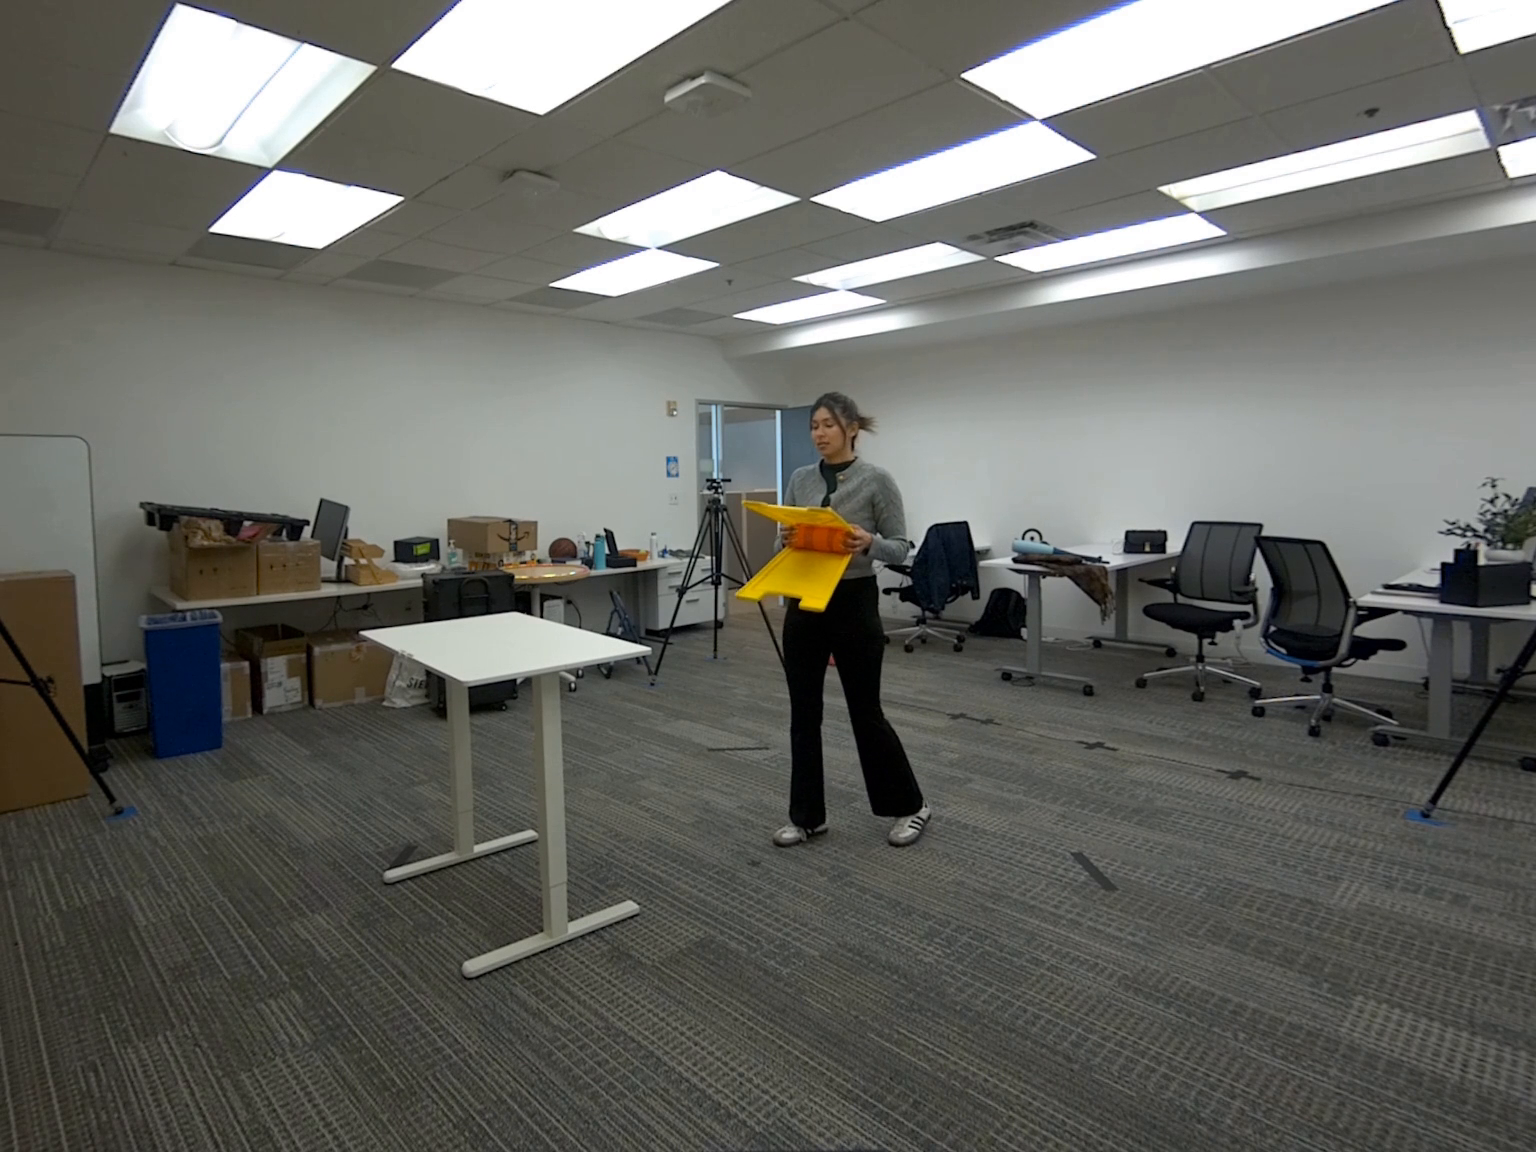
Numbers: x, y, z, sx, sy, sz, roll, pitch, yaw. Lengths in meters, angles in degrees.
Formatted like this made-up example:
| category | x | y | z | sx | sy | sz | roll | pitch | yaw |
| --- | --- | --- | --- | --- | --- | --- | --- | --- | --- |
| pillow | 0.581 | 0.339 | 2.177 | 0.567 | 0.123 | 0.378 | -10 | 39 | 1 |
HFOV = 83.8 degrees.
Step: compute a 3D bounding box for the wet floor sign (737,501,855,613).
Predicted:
| category | x | y | z | sx | sy | sz | roll | pitch | yaw |
| --- | --- | --- | --- | --- | --- | --- | --- | --- | --- |
| wet floor sign | 0.132 | -0.106 | 2.829 | 0.287 | 0.287 | 0.639 | 7 | 10 | 16 |
